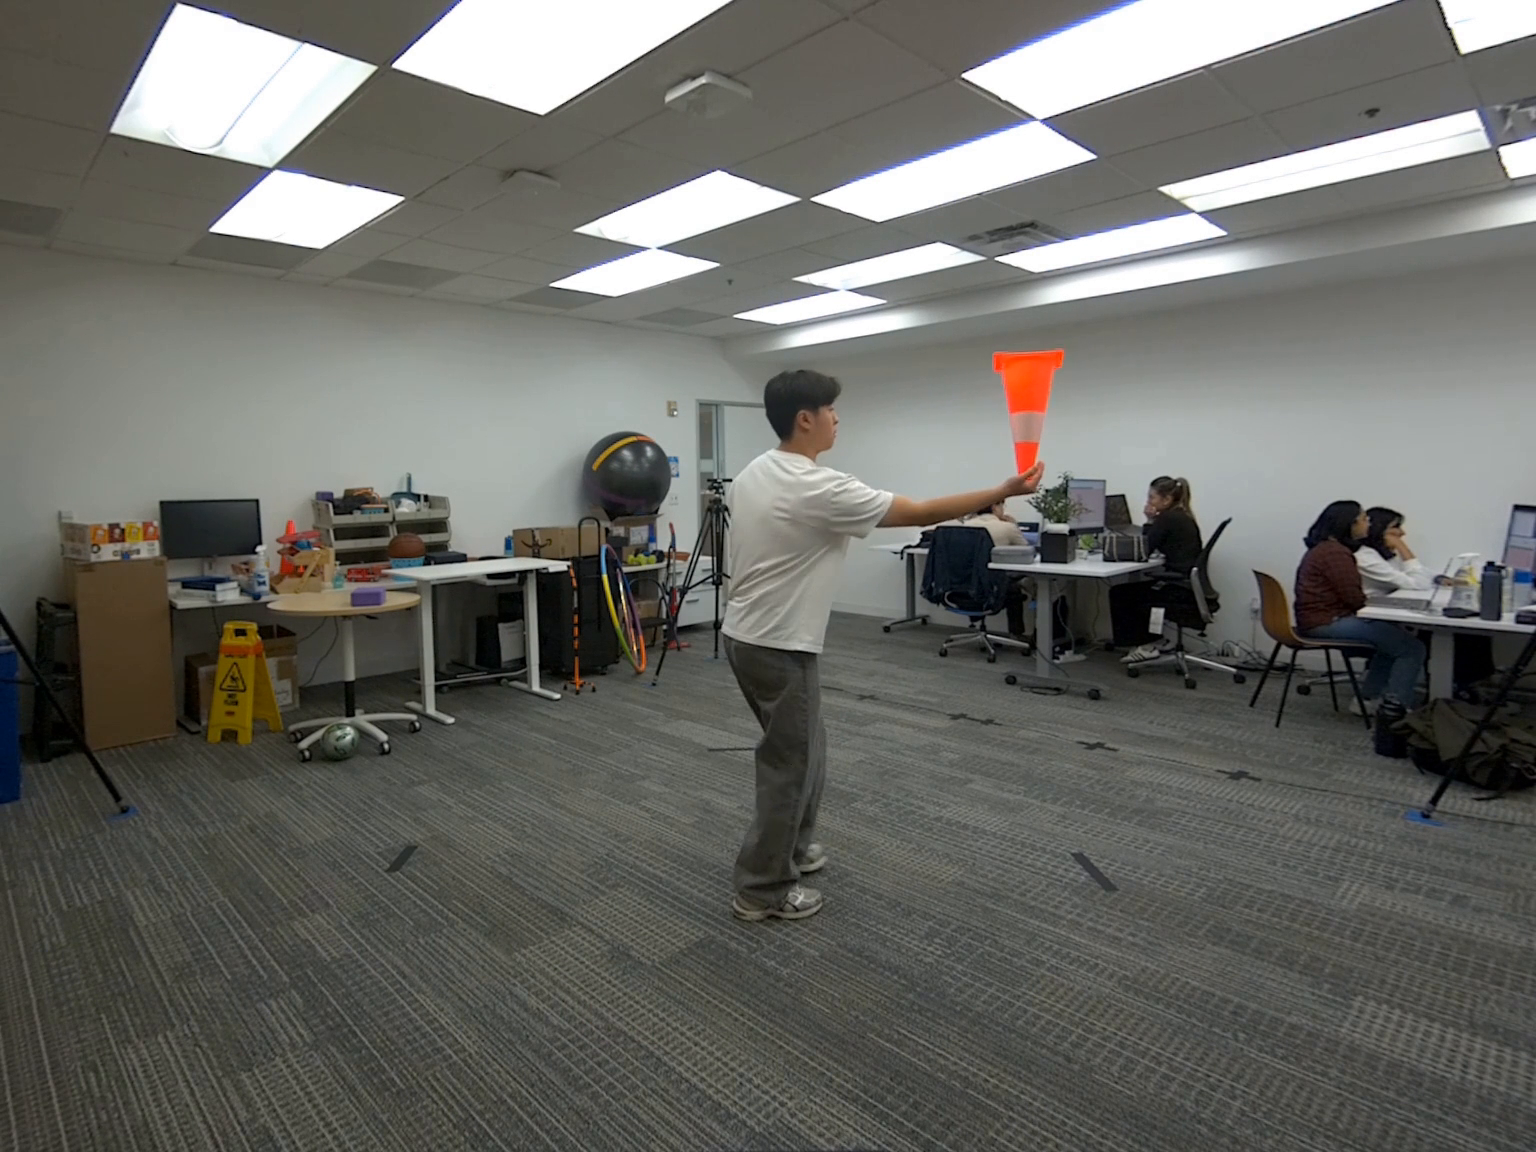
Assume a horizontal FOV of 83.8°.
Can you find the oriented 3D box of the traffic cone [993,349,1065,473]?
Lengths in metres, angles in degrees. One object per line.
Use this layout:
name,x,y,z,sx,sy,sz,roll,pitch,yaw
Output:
traffic cone,0.795,-0.465,2.611,0.208,0.384,0.200,0,-2,14
